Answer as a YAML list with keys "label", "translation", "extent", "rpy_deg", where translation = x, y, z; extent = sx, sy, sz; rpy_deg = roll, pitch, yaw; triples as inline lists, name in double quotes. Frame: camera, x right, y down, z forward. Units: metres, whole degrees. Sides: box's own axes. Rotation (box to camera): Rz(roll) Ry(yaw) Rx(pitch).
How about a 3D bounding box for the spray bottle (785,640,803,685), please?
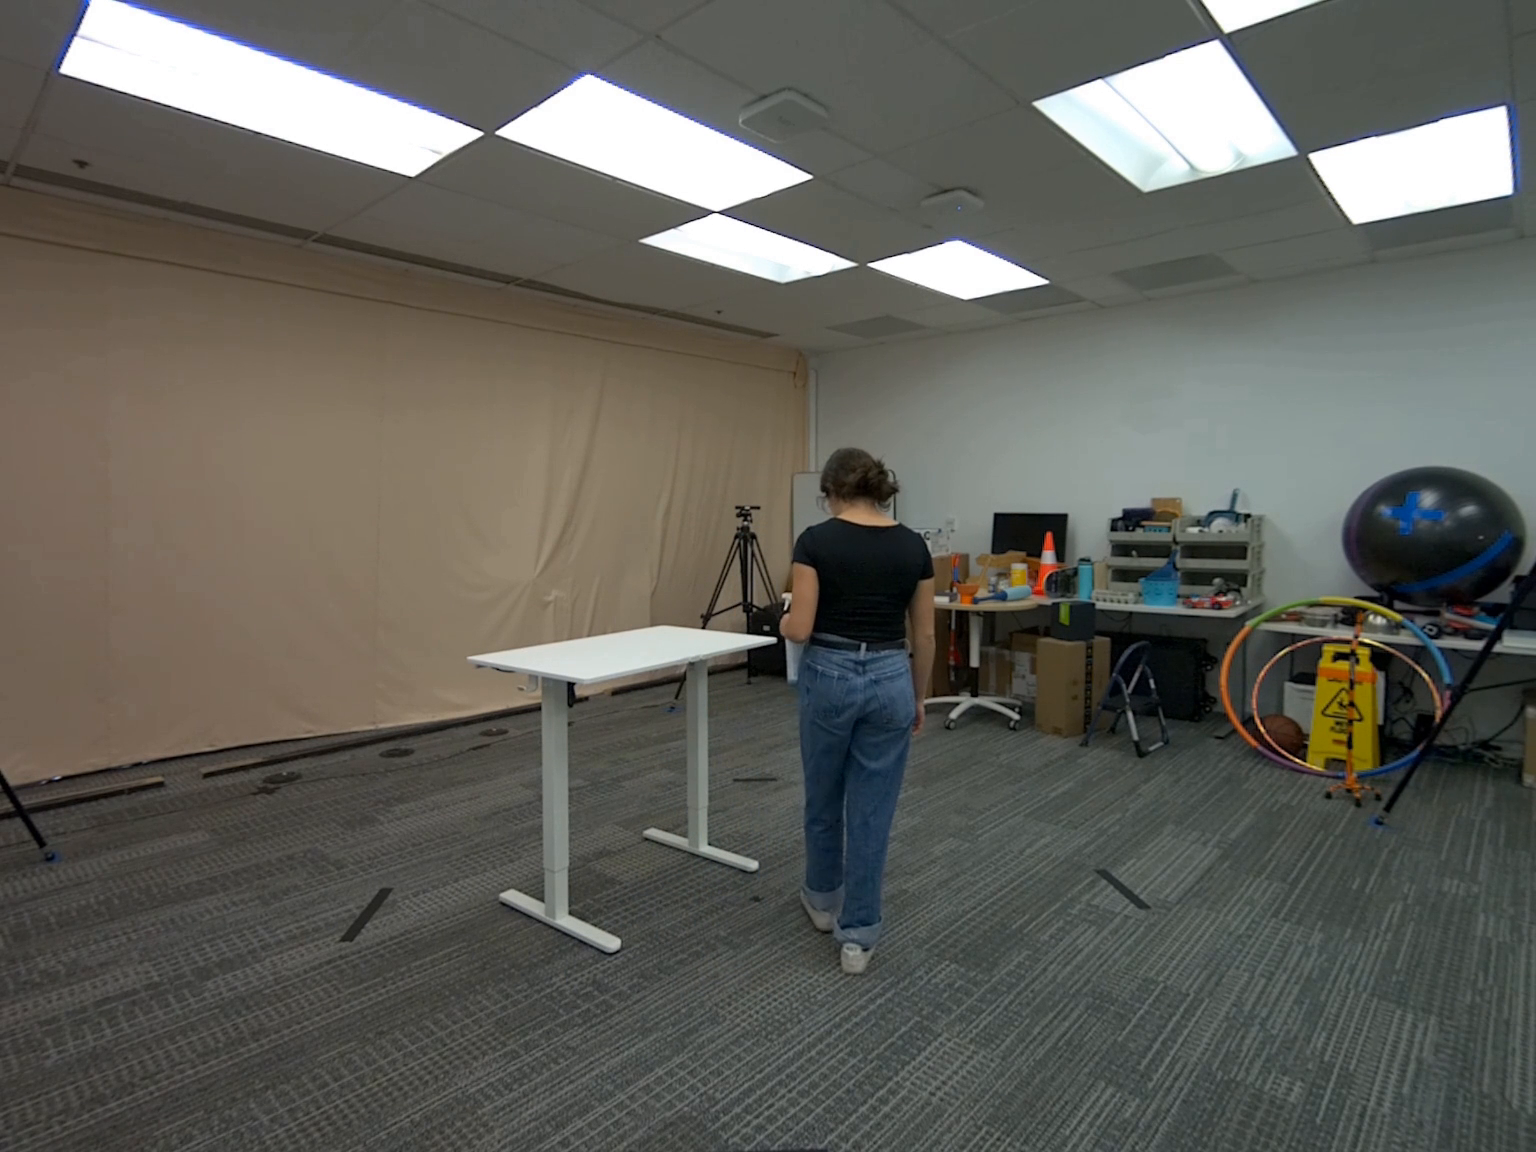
- label: "spray bottle"
  translation: [0.106, 0.209, 2.772]
  extent: [0.090, 0.299, 0.086]
  rpy_deg: [-3, -6, 0]
